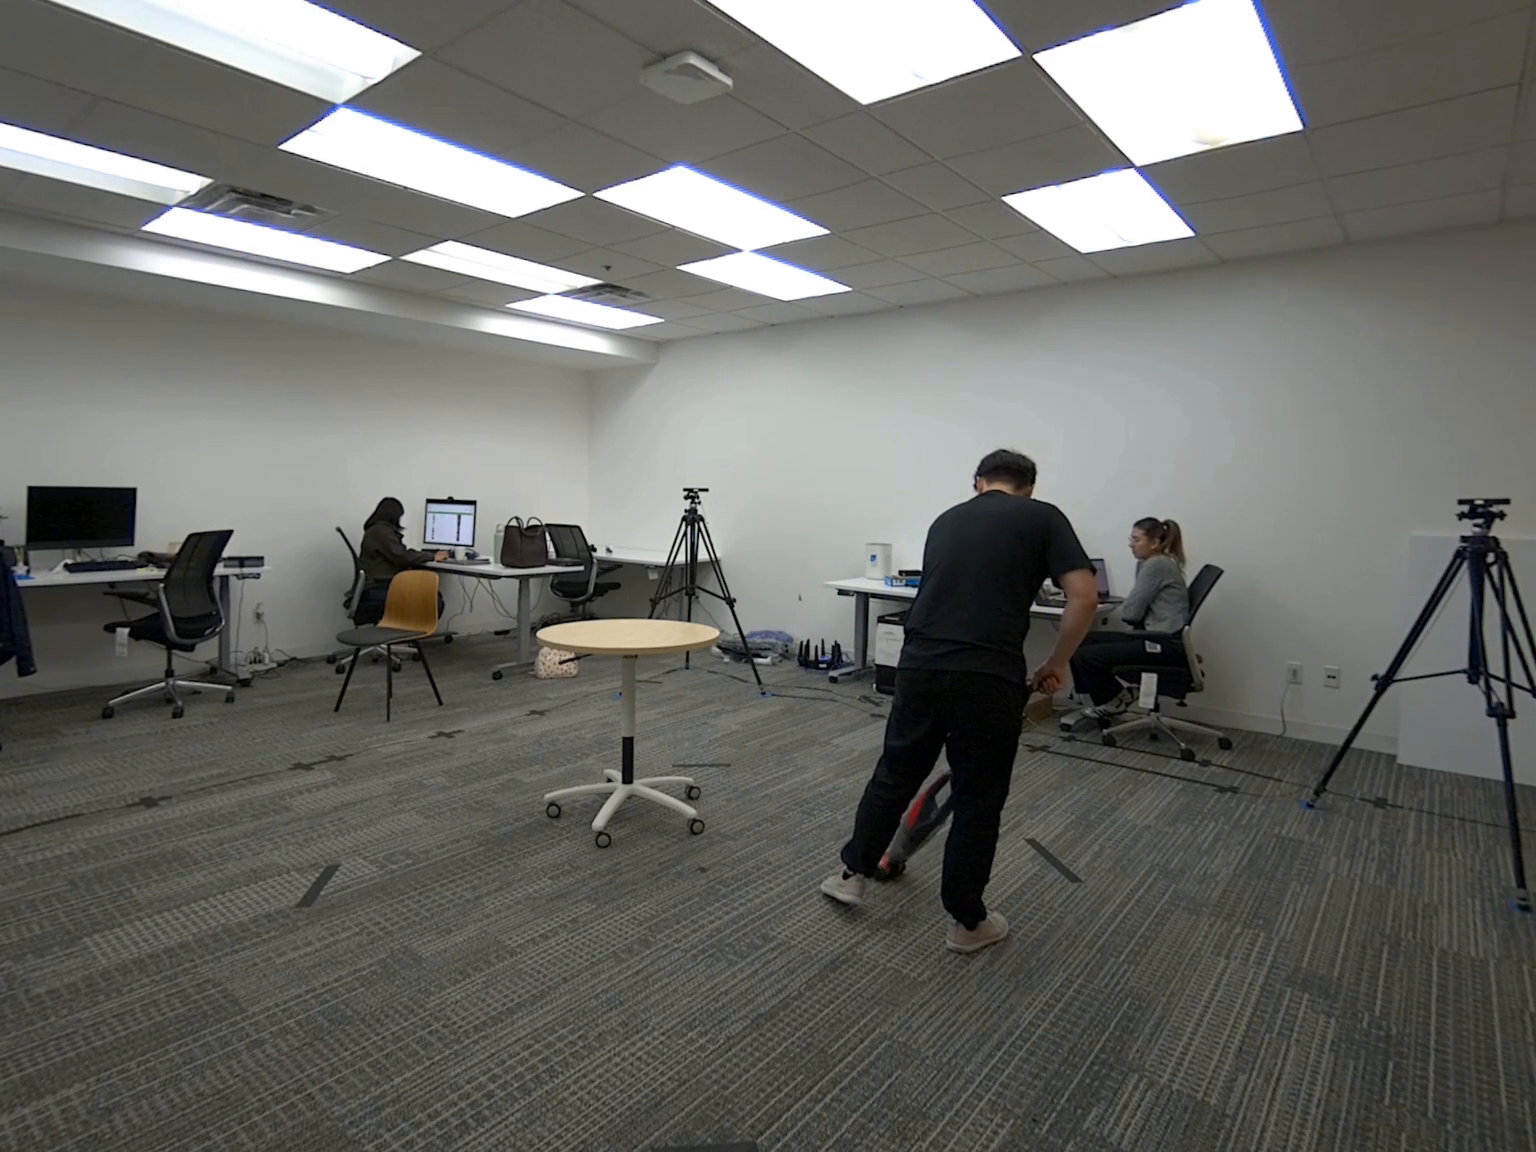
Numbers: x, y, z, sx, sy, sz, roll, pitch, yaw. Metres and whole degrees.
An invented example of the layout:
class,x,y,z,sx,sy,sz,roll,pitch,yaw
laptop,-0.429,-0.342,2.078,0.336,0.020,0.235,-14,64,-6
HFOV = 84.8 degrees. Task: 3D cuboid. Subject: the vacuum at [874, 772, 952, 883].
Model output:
class,x,y,z,sx,sy,sz,roll,pitch,yaw
vacuum,0.619,0.696,2.879,0.245,1.042,0.150,0,44,-42
